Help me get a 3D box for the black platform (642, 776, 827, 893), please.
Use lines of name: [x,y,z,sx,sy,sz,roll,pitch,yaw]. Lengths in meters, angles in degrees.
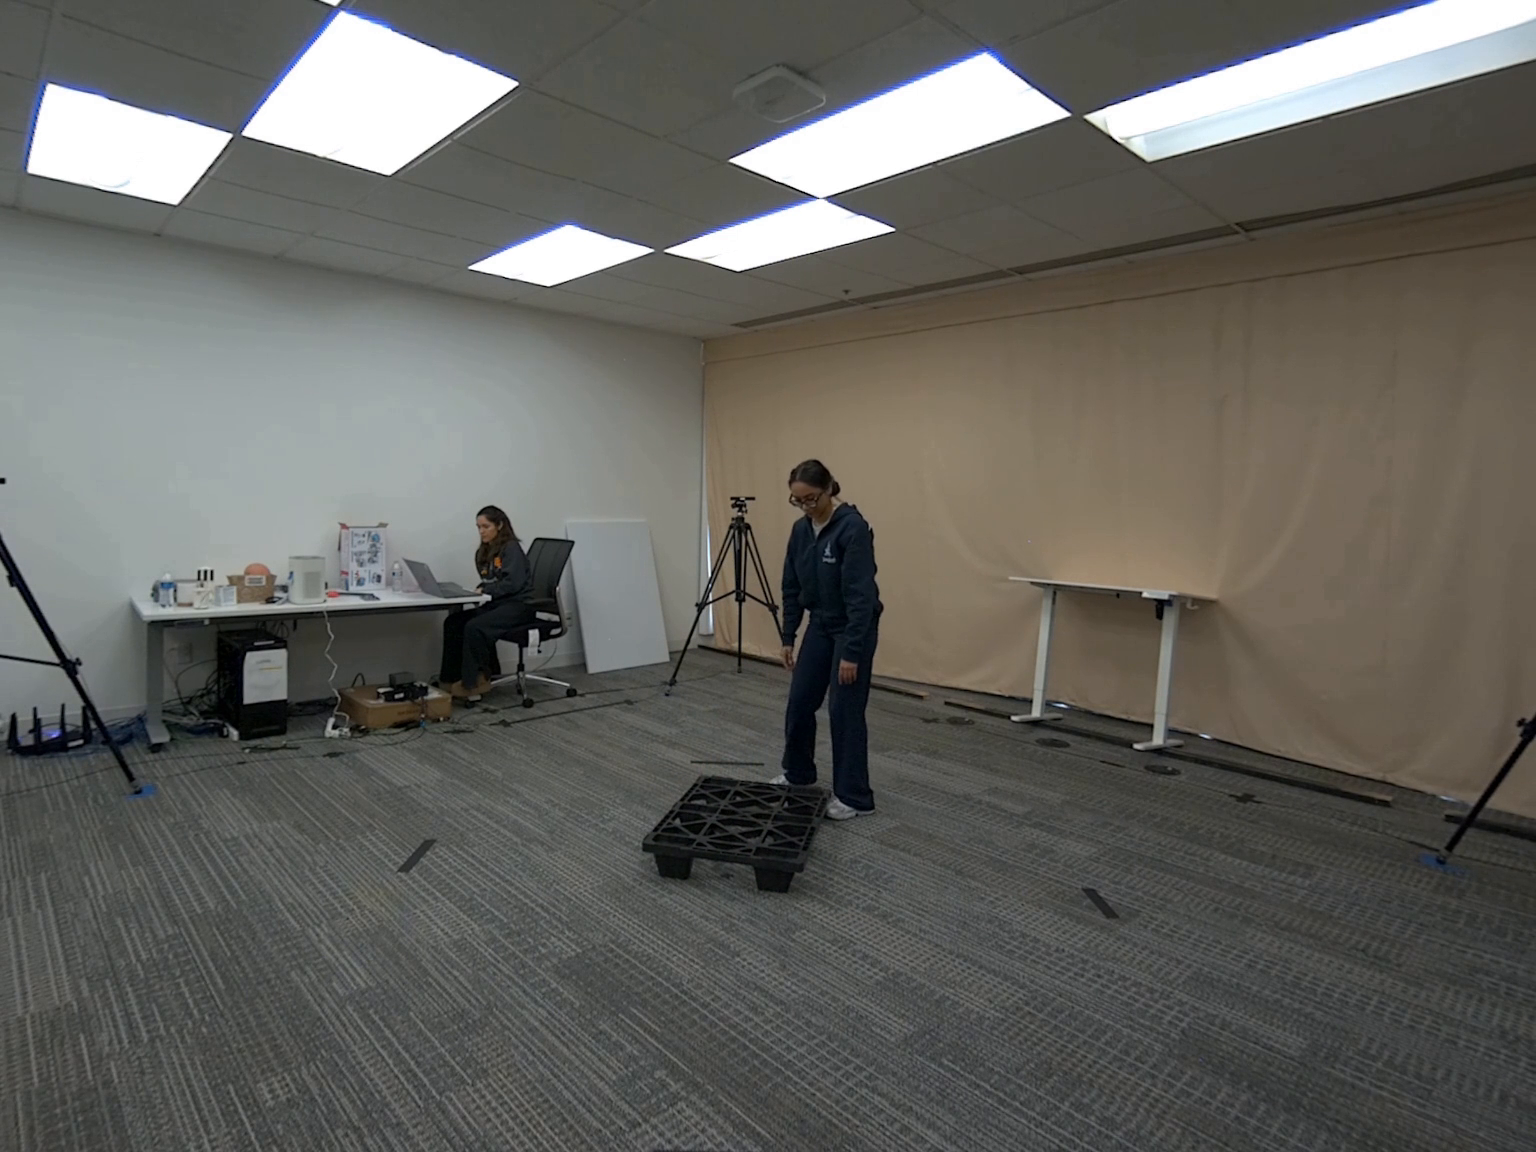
black platform: [-0.098,1.016,3.380,0.611,0.143,0.799,3,5,12]
